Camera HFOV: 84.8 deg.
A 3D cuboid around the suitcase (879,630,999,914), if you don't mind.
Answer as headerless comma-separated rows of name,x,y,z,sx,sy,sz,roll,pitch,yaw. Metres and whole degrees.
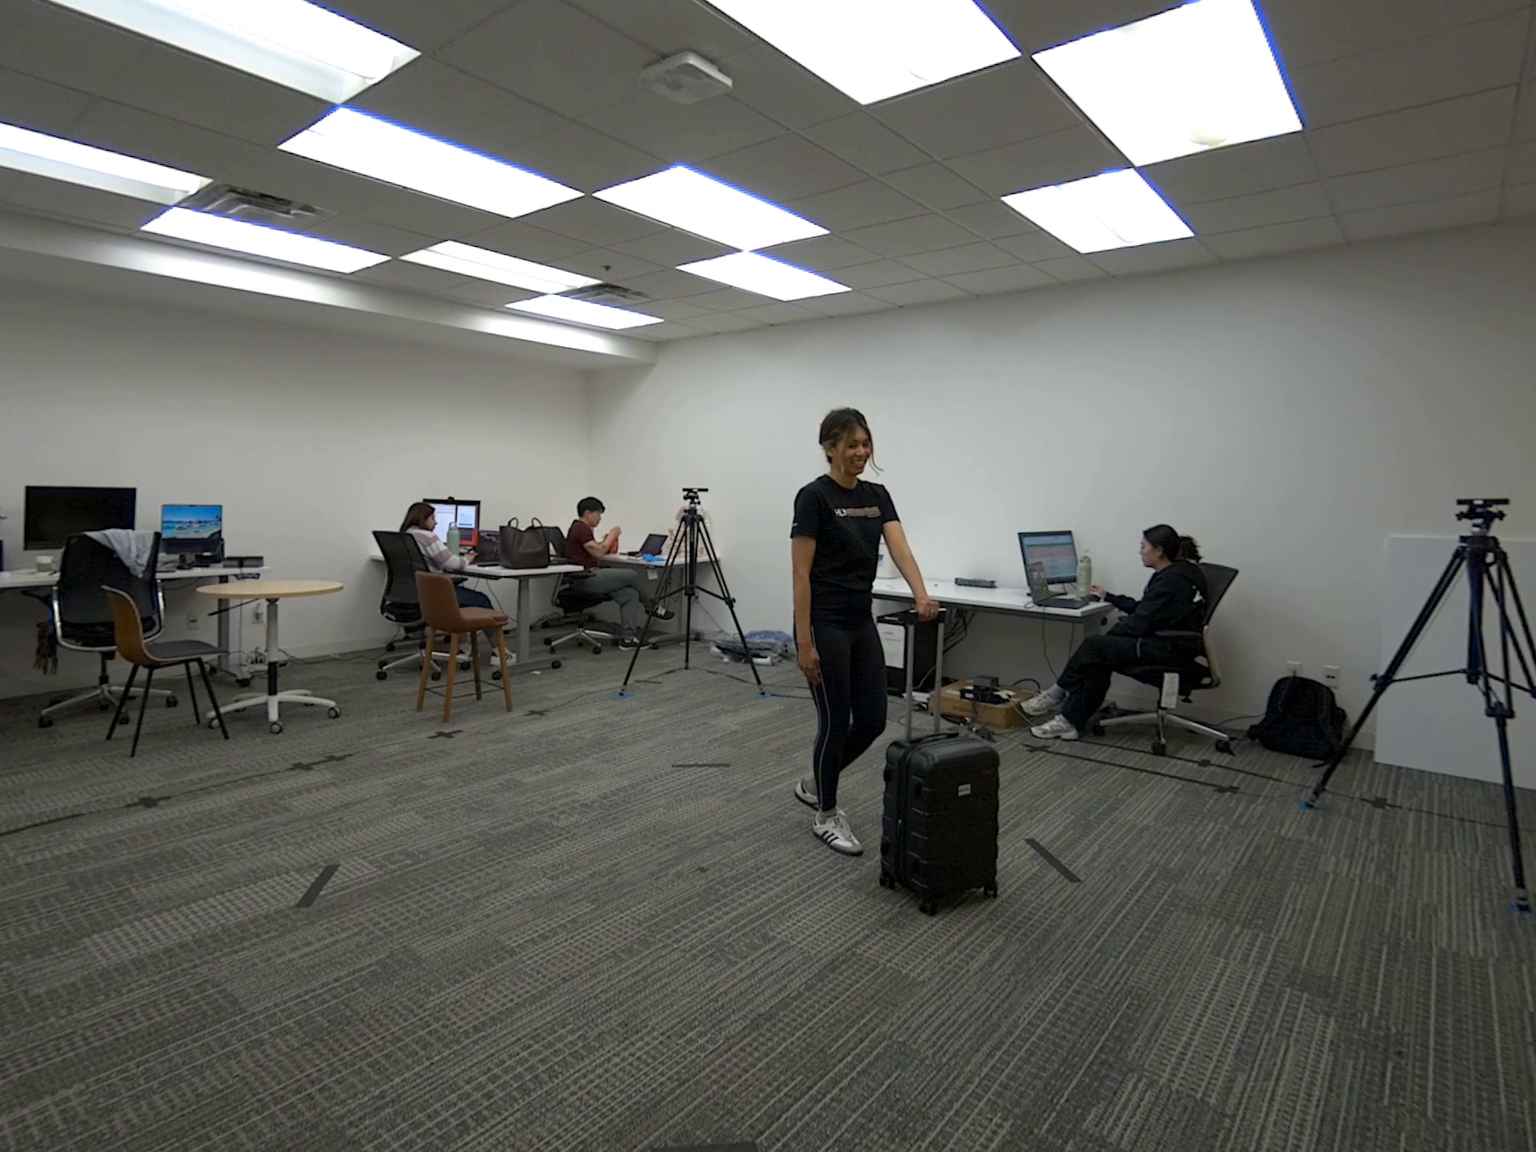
suitcase,0.602,0.626,2.941,0.375,0.974,0.264,-1,6,-26
